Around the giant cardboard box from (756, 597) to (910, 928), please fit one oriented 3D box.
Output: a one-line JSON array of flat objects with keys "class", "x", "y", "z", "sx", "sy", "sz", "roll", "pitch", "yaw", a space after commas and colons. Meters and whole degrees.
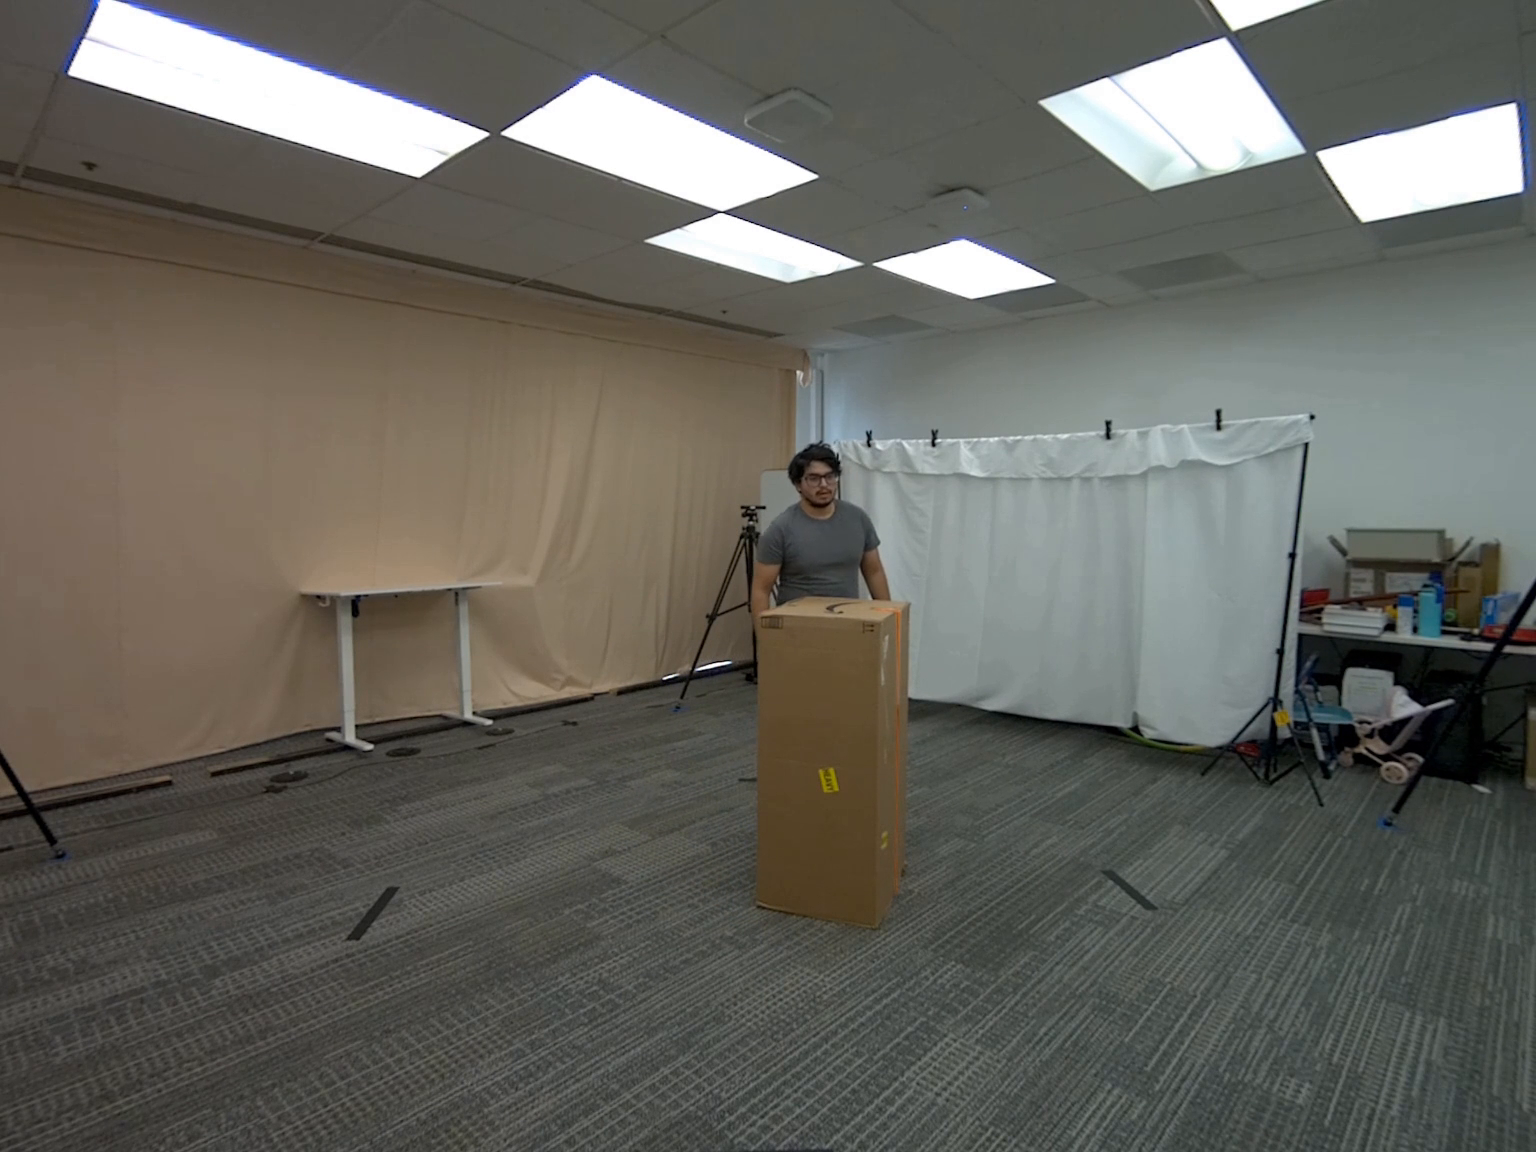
[{"class": "giant cardboard box", "x": 0.257, "y": 0.627, "z": 3.076, "sx": 0.456, "sy": 1.025, "sz": 0.572, "roll": 1, "pitch": 3, "yaw": 20}]
